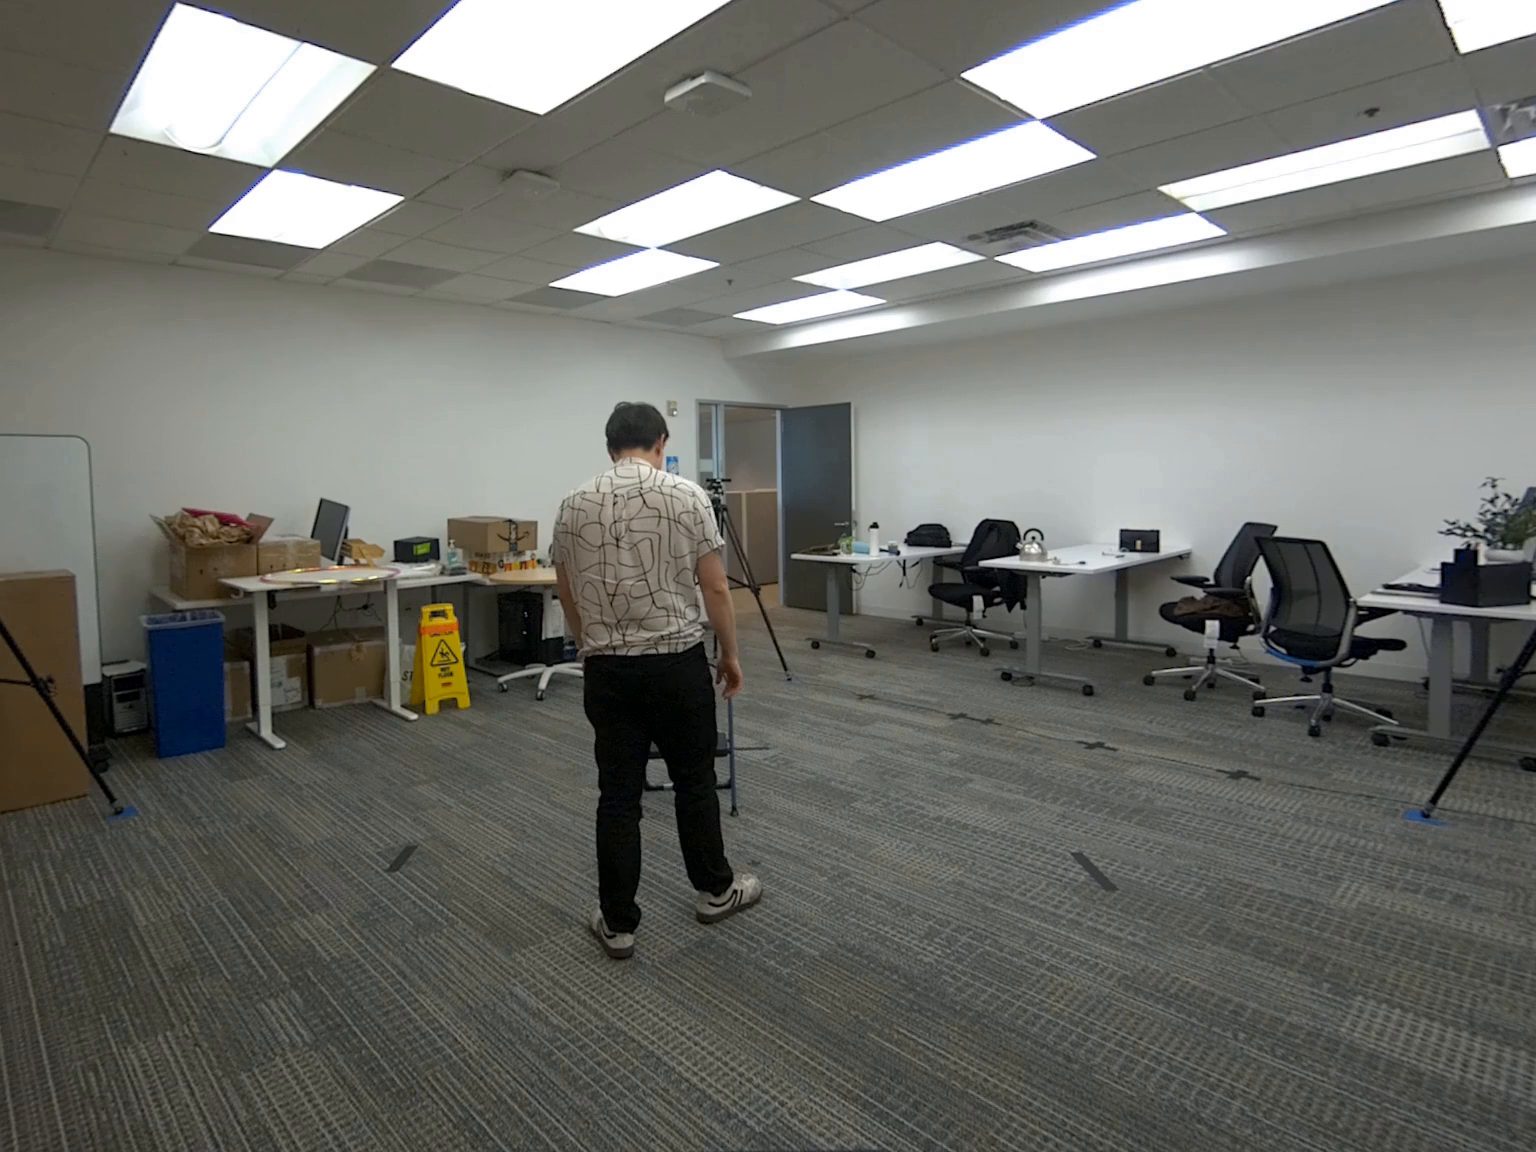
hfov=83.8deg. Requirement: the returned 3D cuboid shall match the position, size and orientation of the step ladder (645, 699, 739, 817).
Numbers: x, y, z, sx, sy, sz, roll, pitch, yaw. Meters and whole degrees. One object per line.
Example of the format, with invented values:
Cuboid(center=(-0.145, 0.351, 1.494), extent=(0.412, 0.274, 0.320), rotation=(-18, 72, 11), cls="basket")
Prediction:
Cuboid(center=(-0.351, 0.680, 3.699), extent=(0.430, 0.604, 0.351), rotation=(-1, 4, -3), cls="step ladder")
